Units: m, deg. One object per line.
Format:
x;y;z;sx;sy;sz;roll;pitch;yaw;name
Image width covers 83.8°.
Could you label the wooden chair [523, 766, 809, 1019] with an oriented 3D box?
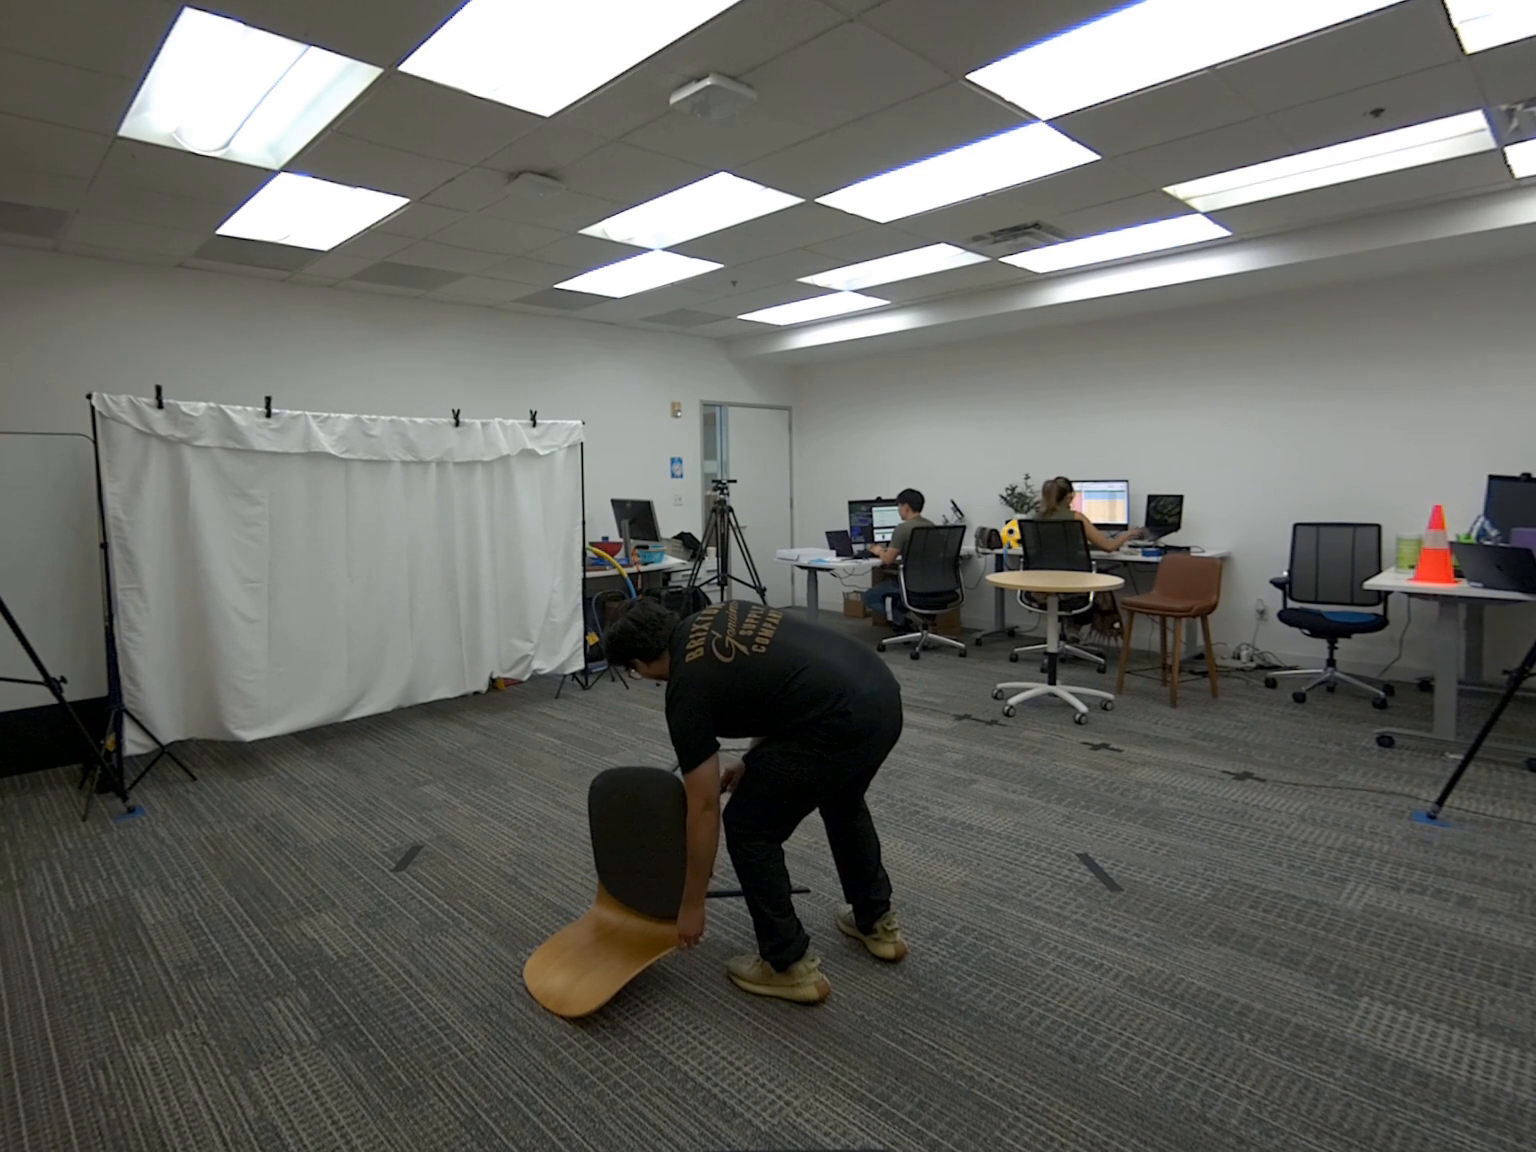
-0.336;0.837;2.573;0.489;0.523;0.858;-11;2;41;wooden chair
